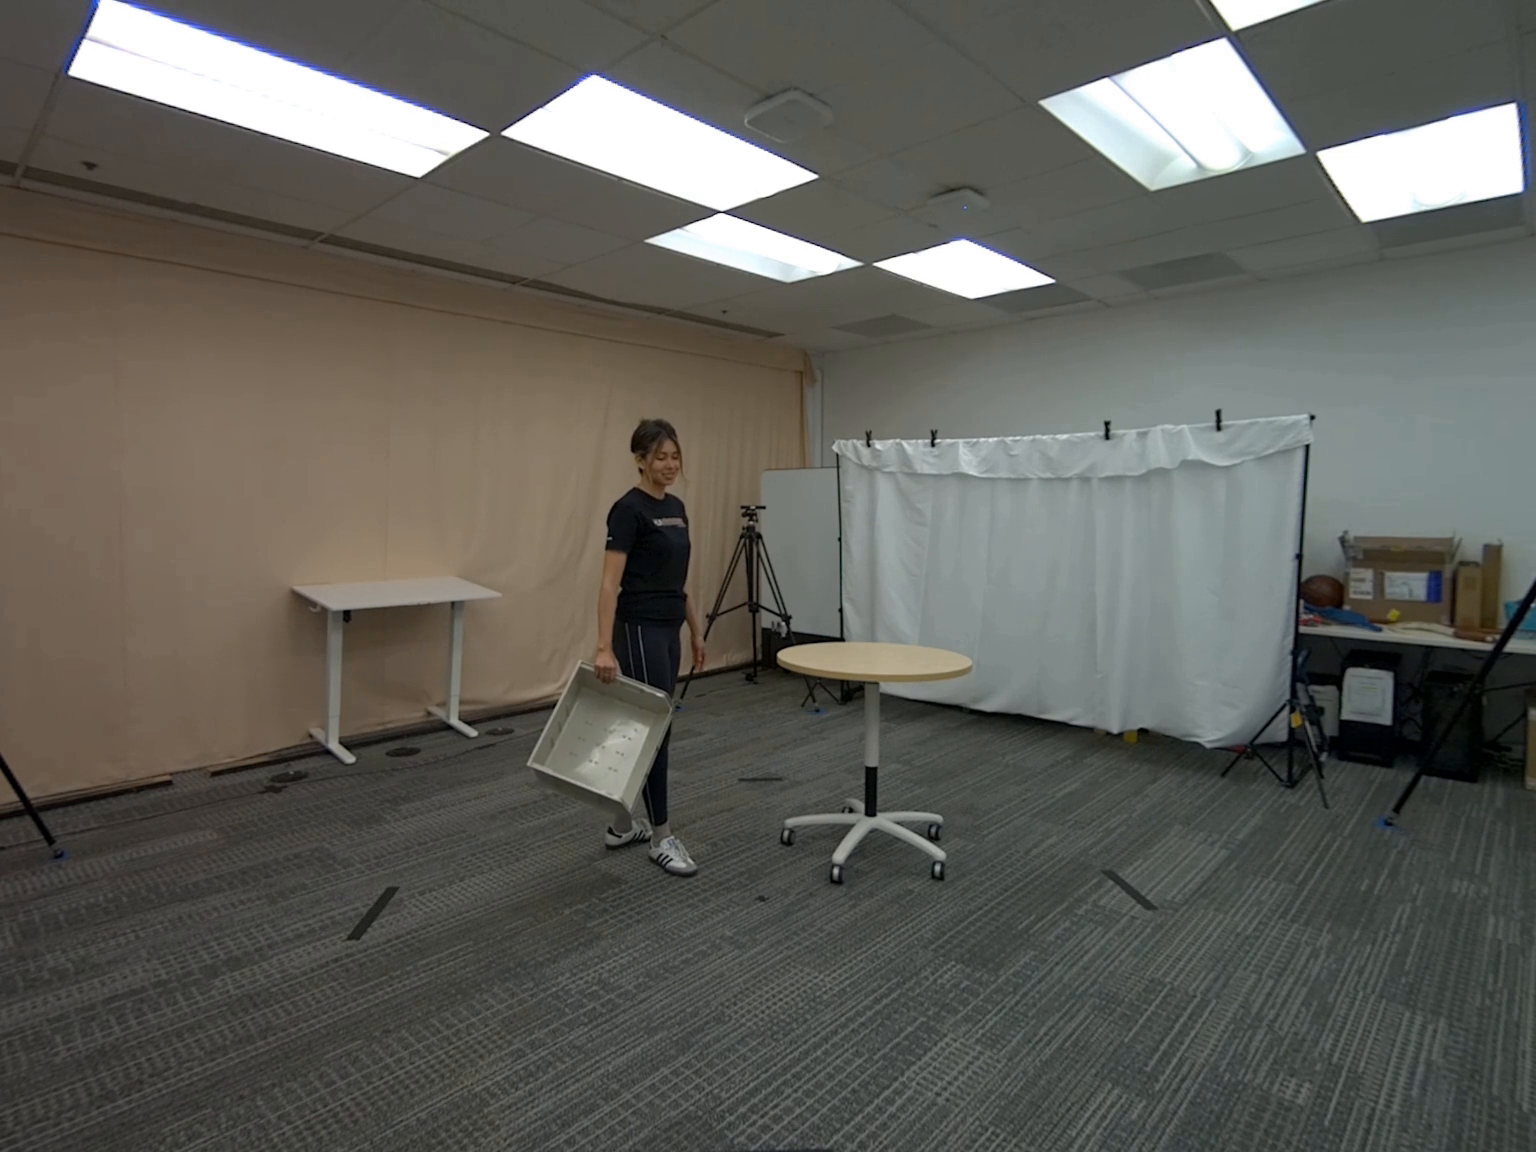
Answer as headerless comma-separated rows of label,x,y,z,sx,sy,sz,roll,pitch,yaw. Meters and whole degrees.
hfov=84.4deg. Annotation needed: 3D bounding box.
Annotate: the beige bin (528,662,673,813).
beige bin,-0.577,0.575,2.974,0.381,0.424,0.186,16,-35,7
